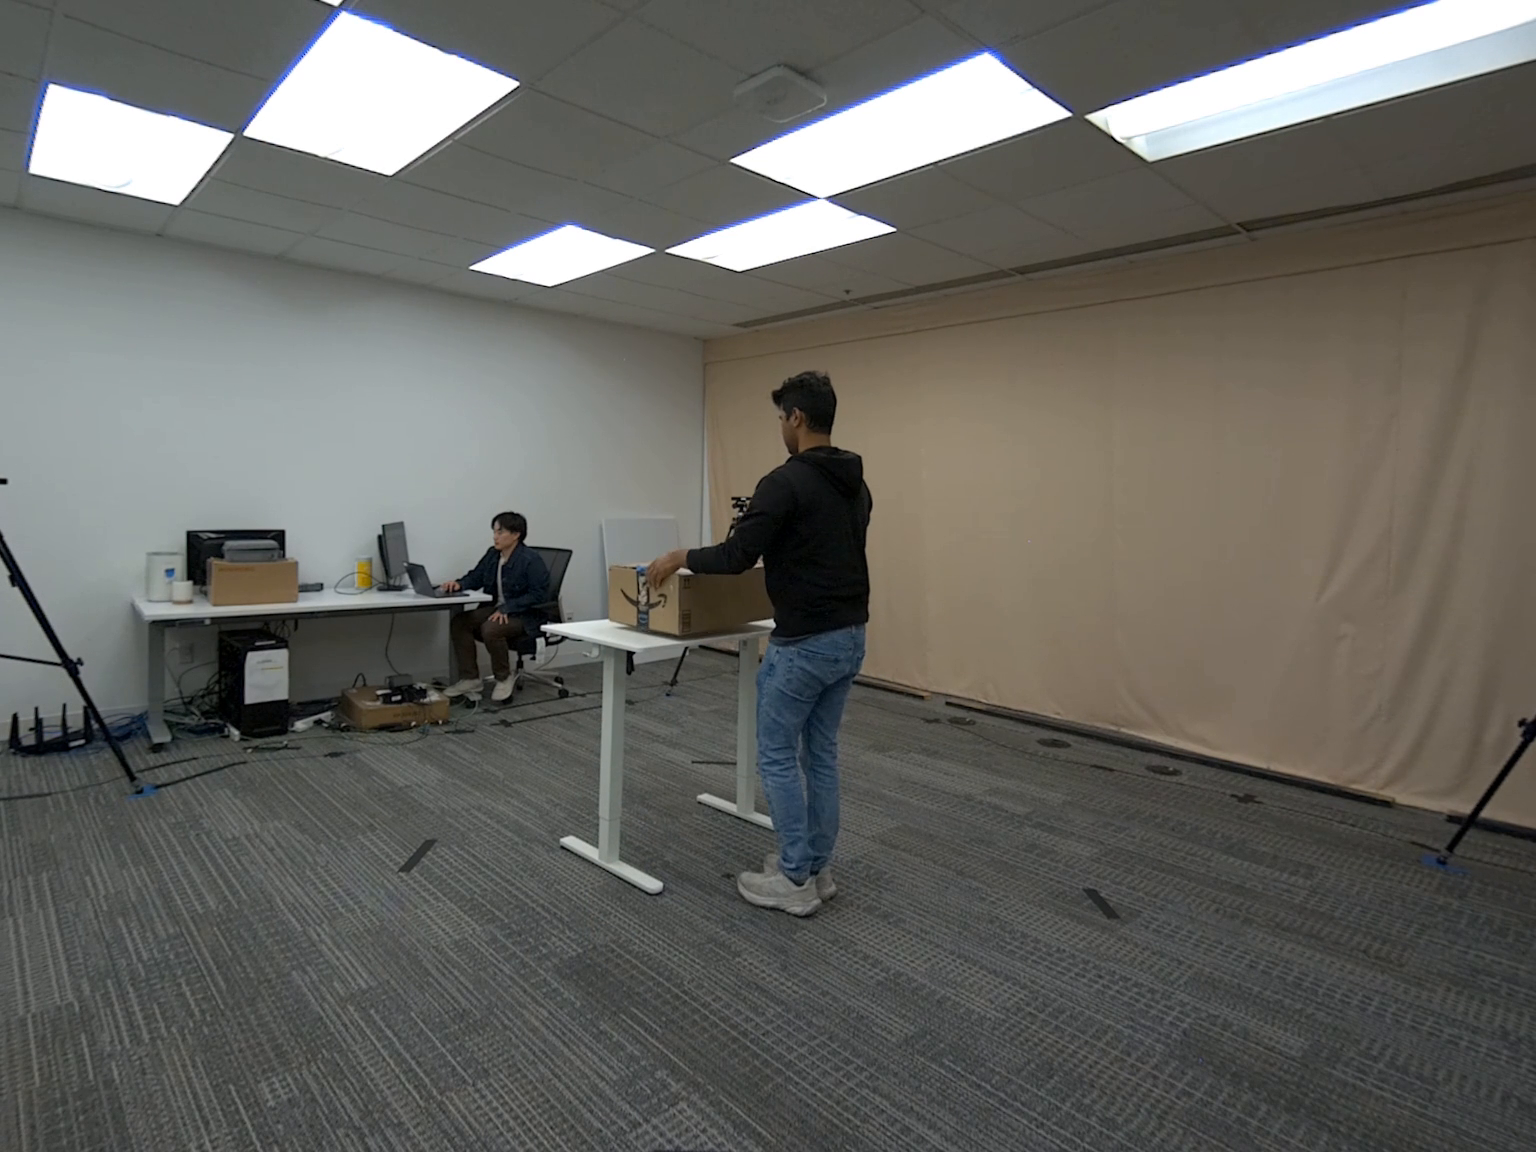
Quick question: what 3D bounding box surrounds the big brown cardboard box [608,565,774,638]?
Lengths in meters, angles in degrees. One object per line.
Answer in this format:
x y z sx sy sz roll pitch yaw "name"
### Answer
-0.276 0.060 3.266 0.428 0.232 0.576 6 7 43 "big brown cardboard box"
